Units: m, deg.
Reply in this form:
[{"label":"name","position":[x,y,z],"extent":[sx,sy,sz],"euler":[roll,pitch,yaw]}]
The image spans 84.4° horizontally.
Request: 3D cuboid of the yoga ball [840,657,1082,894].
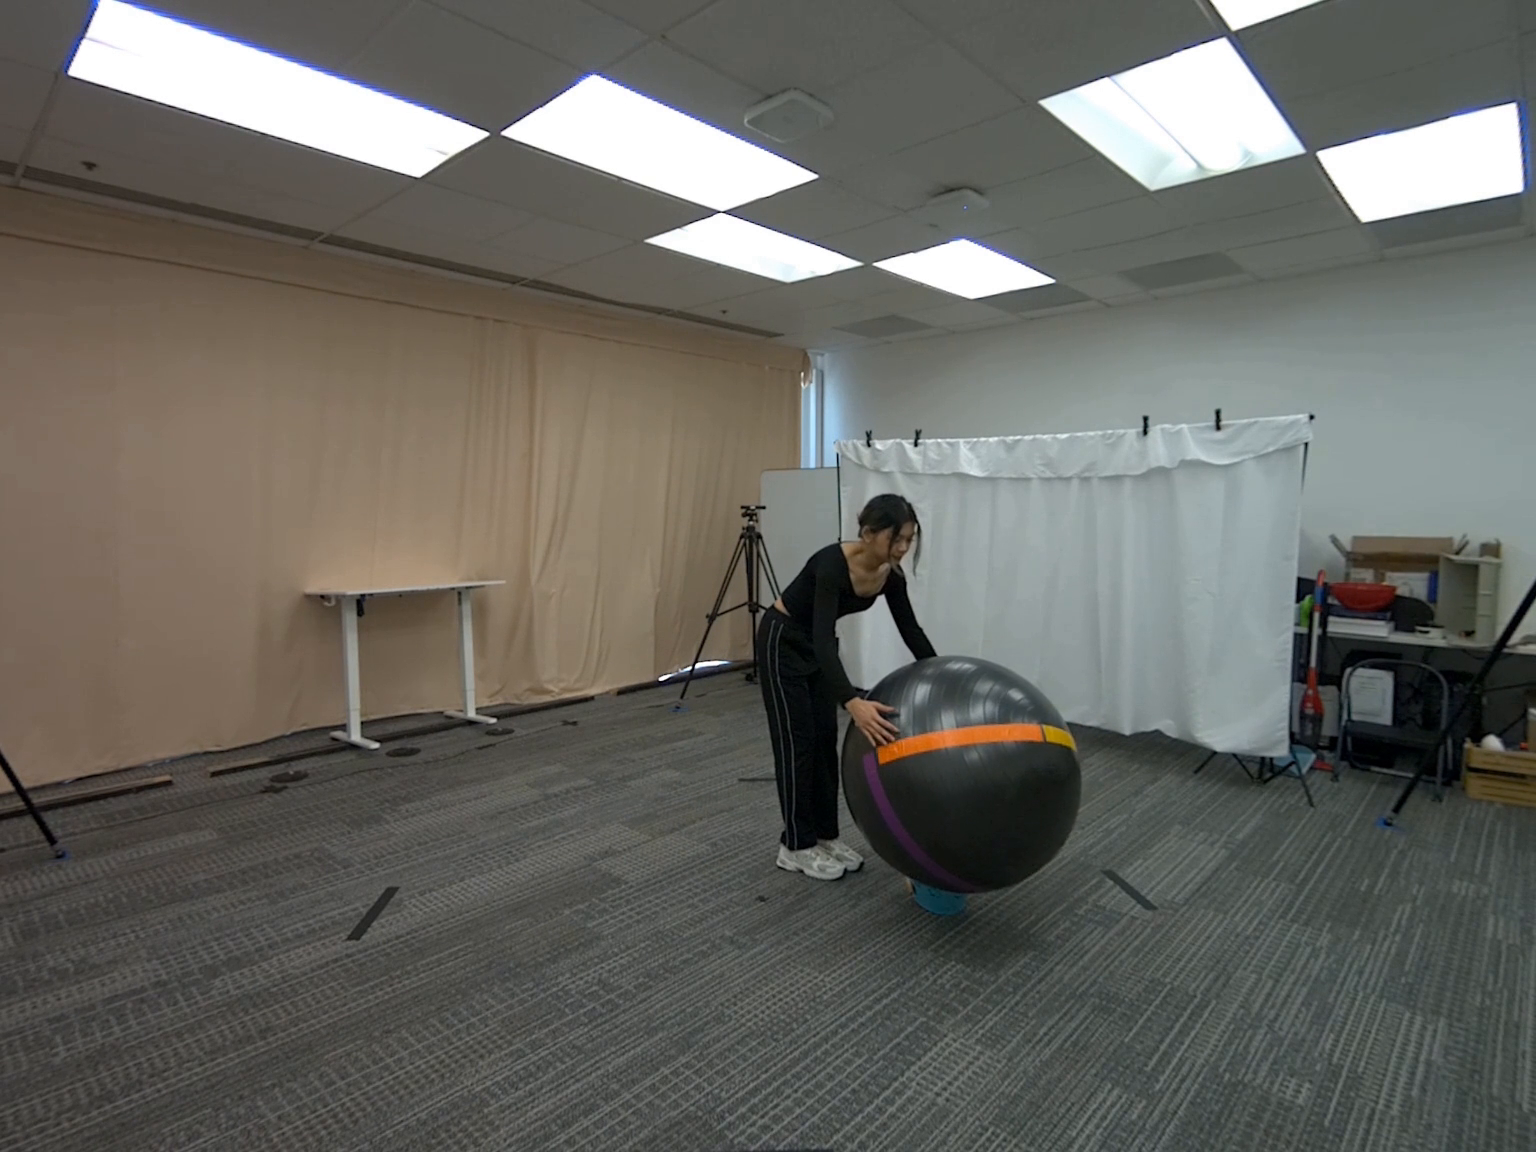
[{"label":"yoga ball","position":[0.637,0.653,2.777],"extent":[0.757,0.756,0.760],"euler":[0,4,-2]}]
